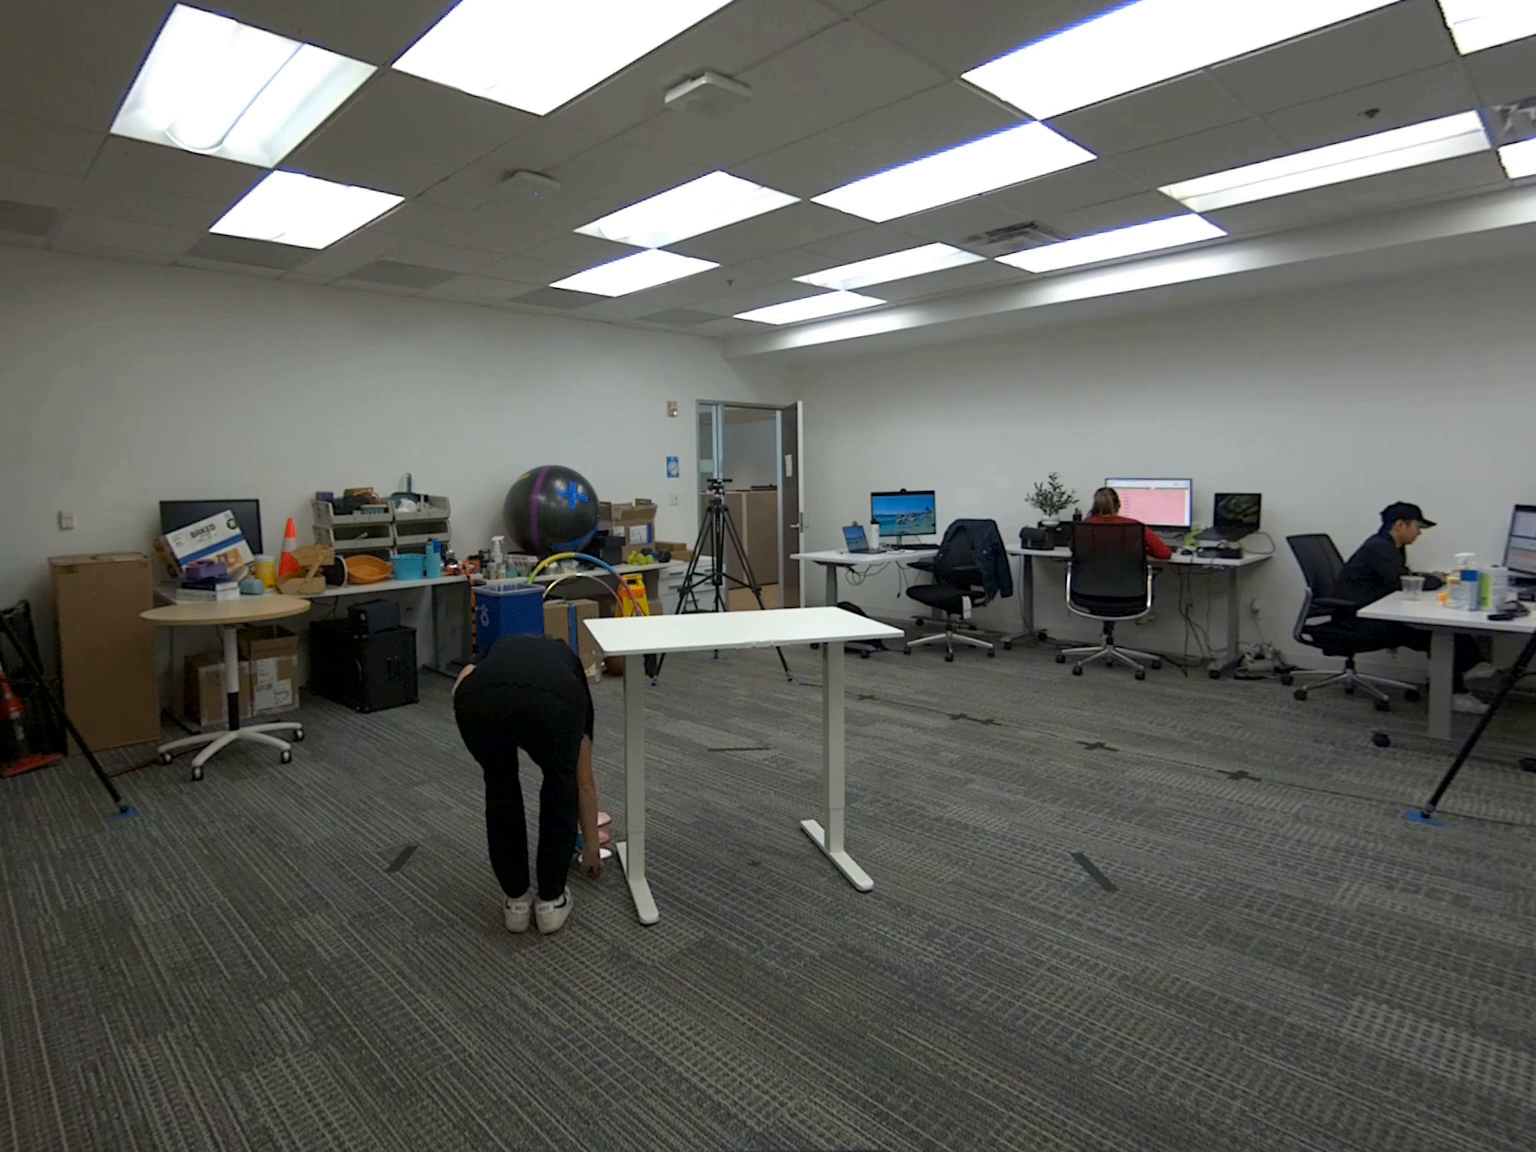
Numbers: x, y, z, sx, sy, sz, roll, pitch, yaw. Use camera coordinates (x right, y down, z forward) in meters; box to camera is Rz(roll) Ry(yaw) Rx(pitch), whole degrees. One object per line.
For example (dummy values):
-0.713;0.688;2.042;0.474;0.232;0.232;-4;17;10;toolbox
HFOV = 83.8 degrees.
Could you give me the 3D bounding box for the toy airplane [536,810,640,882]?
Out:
-0.655;0.972;3.125;0.265;0.156;0.245;-5;1;29;toy airplane
